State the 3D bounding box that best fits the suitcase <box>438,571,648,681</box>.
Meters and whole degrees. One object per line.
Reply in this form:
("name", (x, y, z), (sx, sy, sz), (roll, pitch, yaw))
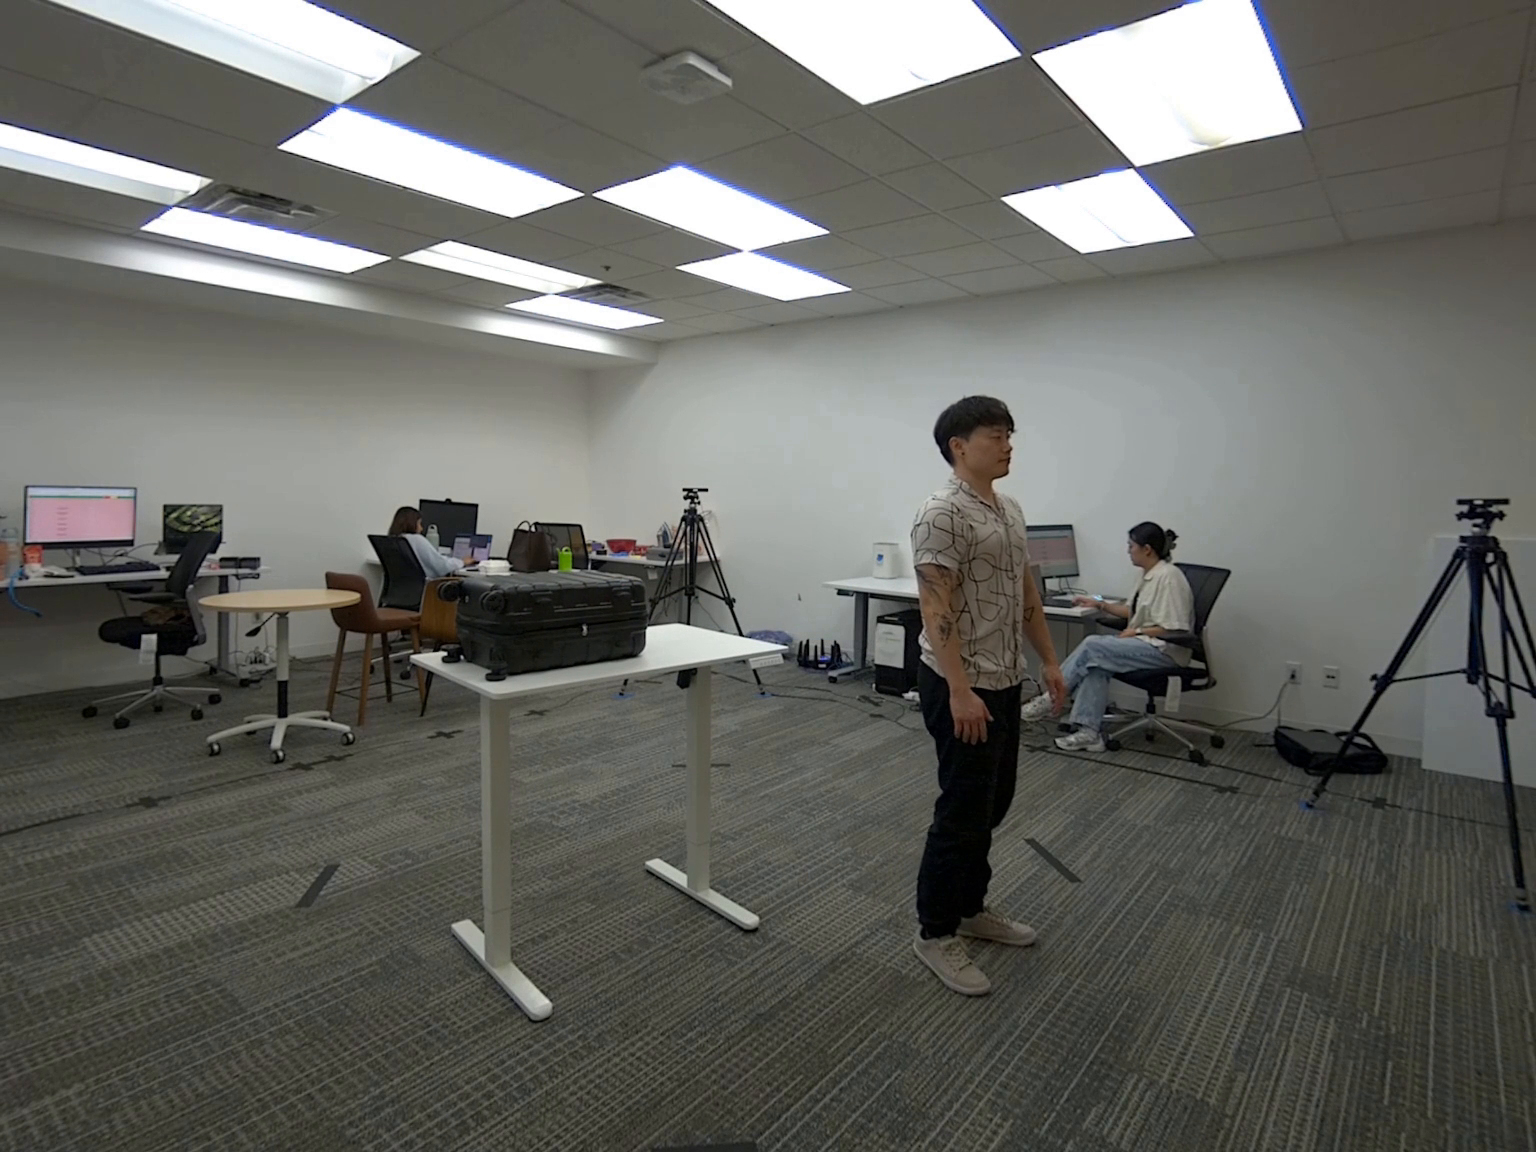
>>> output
("suitcase", (-0.659, 0.124, 2.520), (0.533, 0.247, 0.388), (-4, 6, -43))
